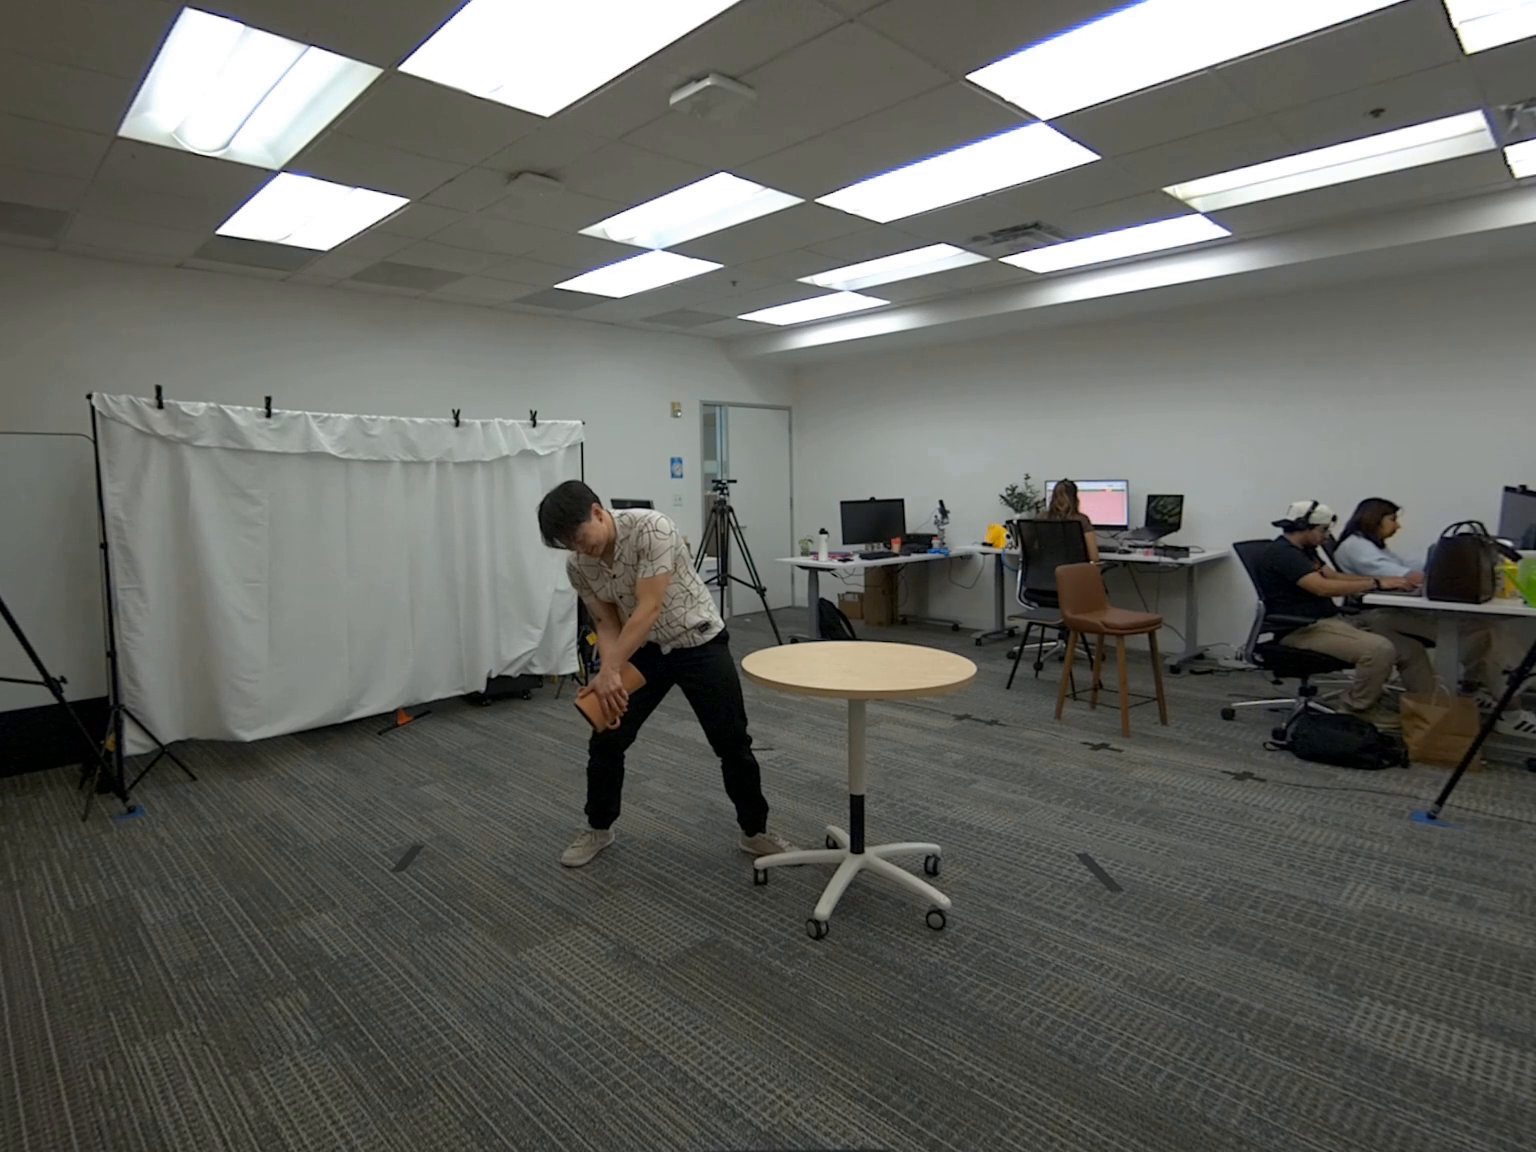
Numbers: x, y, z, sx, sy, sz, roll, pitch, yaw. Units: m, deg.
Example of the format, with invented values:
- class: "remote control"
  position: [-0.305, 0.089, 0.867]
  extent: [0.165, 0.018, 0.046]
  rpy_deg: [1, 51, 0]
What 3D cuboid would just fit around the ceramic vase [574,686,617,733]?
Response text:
- class: "ceramic vase"
  position: [-0.522, 0.392, 2.814]
  extent: [0.219, 0.156, 0.137]
  rpy_deg: [-43, 15, -23]
